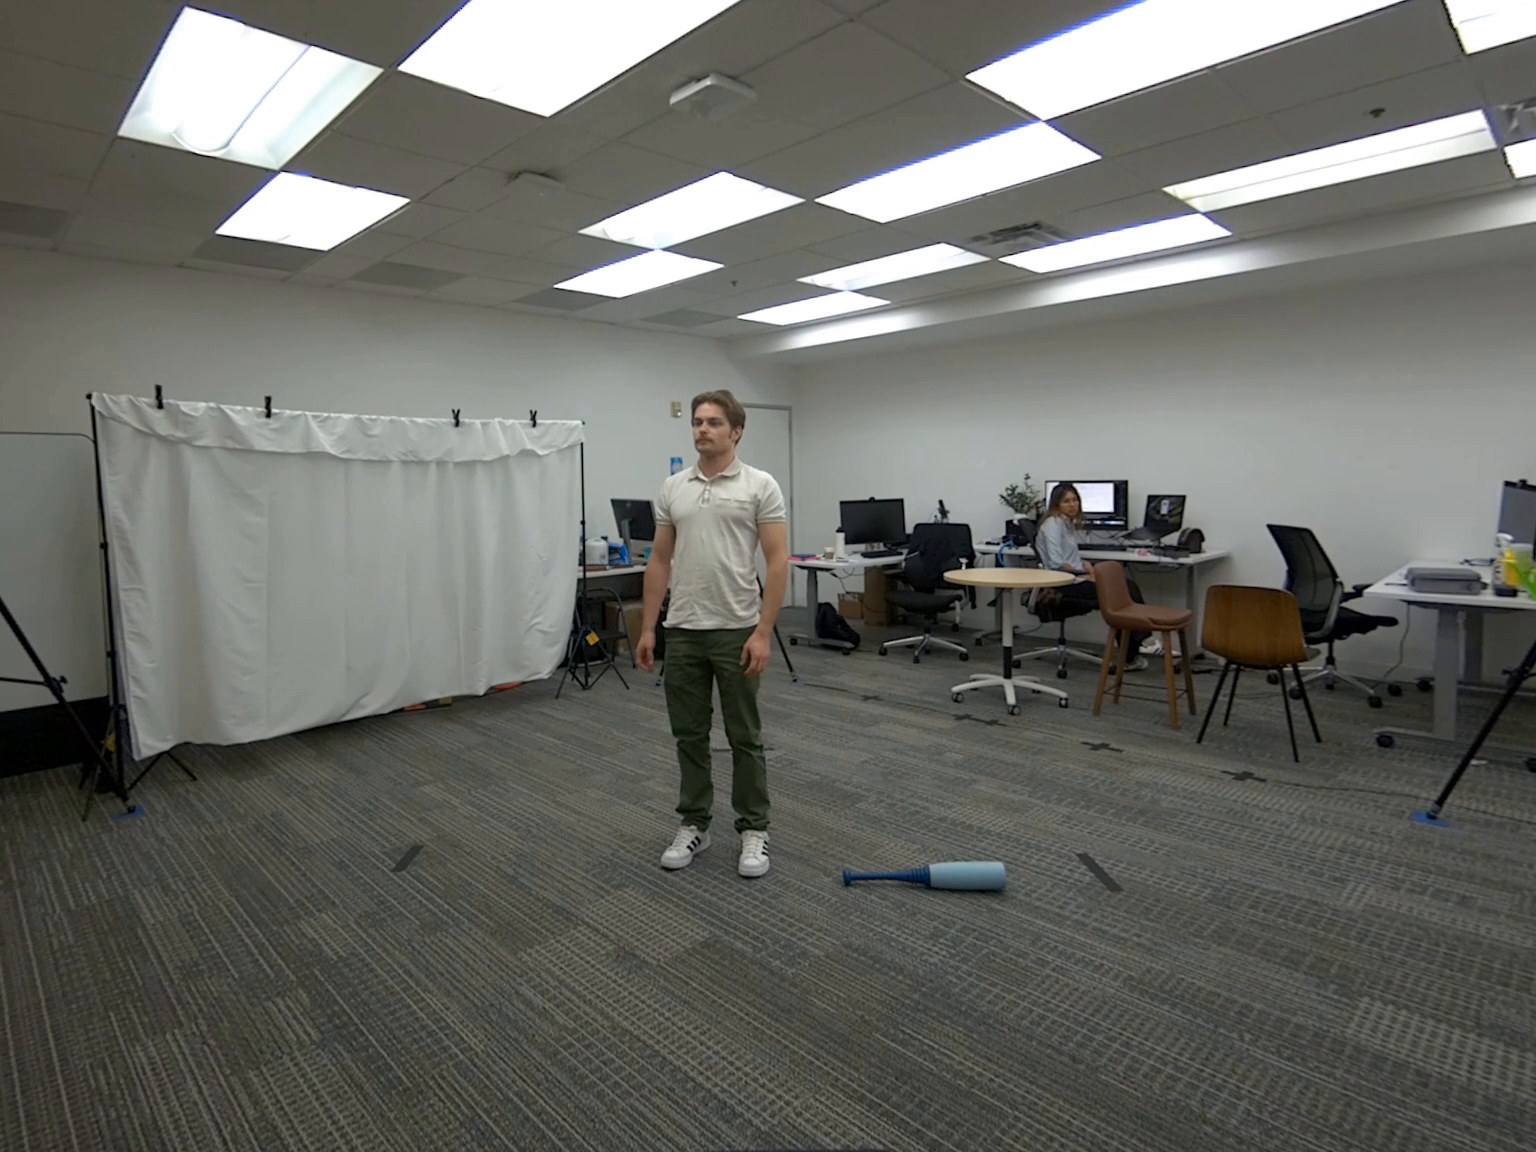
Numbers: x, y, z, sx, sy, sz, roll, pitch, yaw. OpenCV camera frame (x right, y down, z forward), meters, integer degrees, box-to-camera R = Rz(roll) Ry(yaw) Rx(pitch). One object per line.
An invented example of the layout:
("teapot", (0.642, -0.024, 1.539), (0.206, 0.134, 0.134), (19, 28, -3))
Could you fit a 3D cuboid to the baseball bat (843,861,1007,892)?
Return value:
("baseball bat", (0.530, 1.024, 2.909), (0.547, 0.089, 0.089), (-4, 4, 7))
